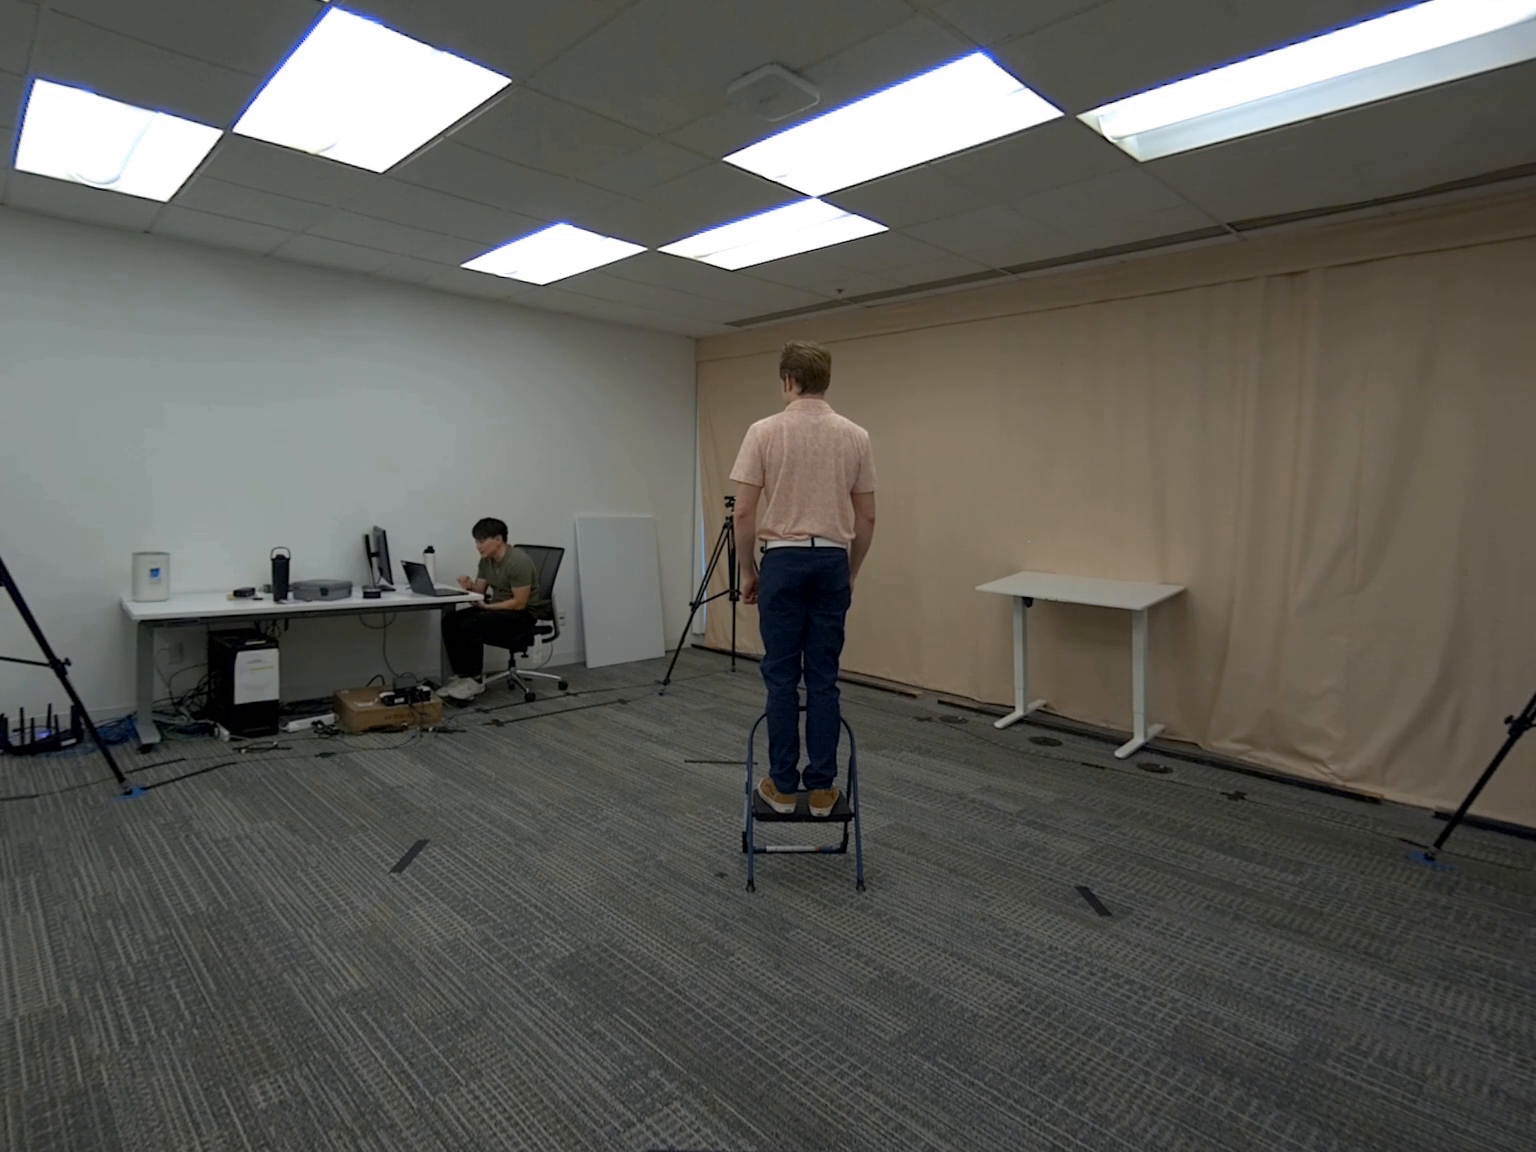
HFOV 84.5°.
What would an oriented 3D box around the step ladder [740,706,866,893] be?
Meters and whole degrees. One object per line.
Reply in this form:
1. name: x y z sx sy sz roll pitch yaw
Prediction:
1. step ladder: 0.123 0.807 3.149 0.429 0.604 0.351 1 4 -5
